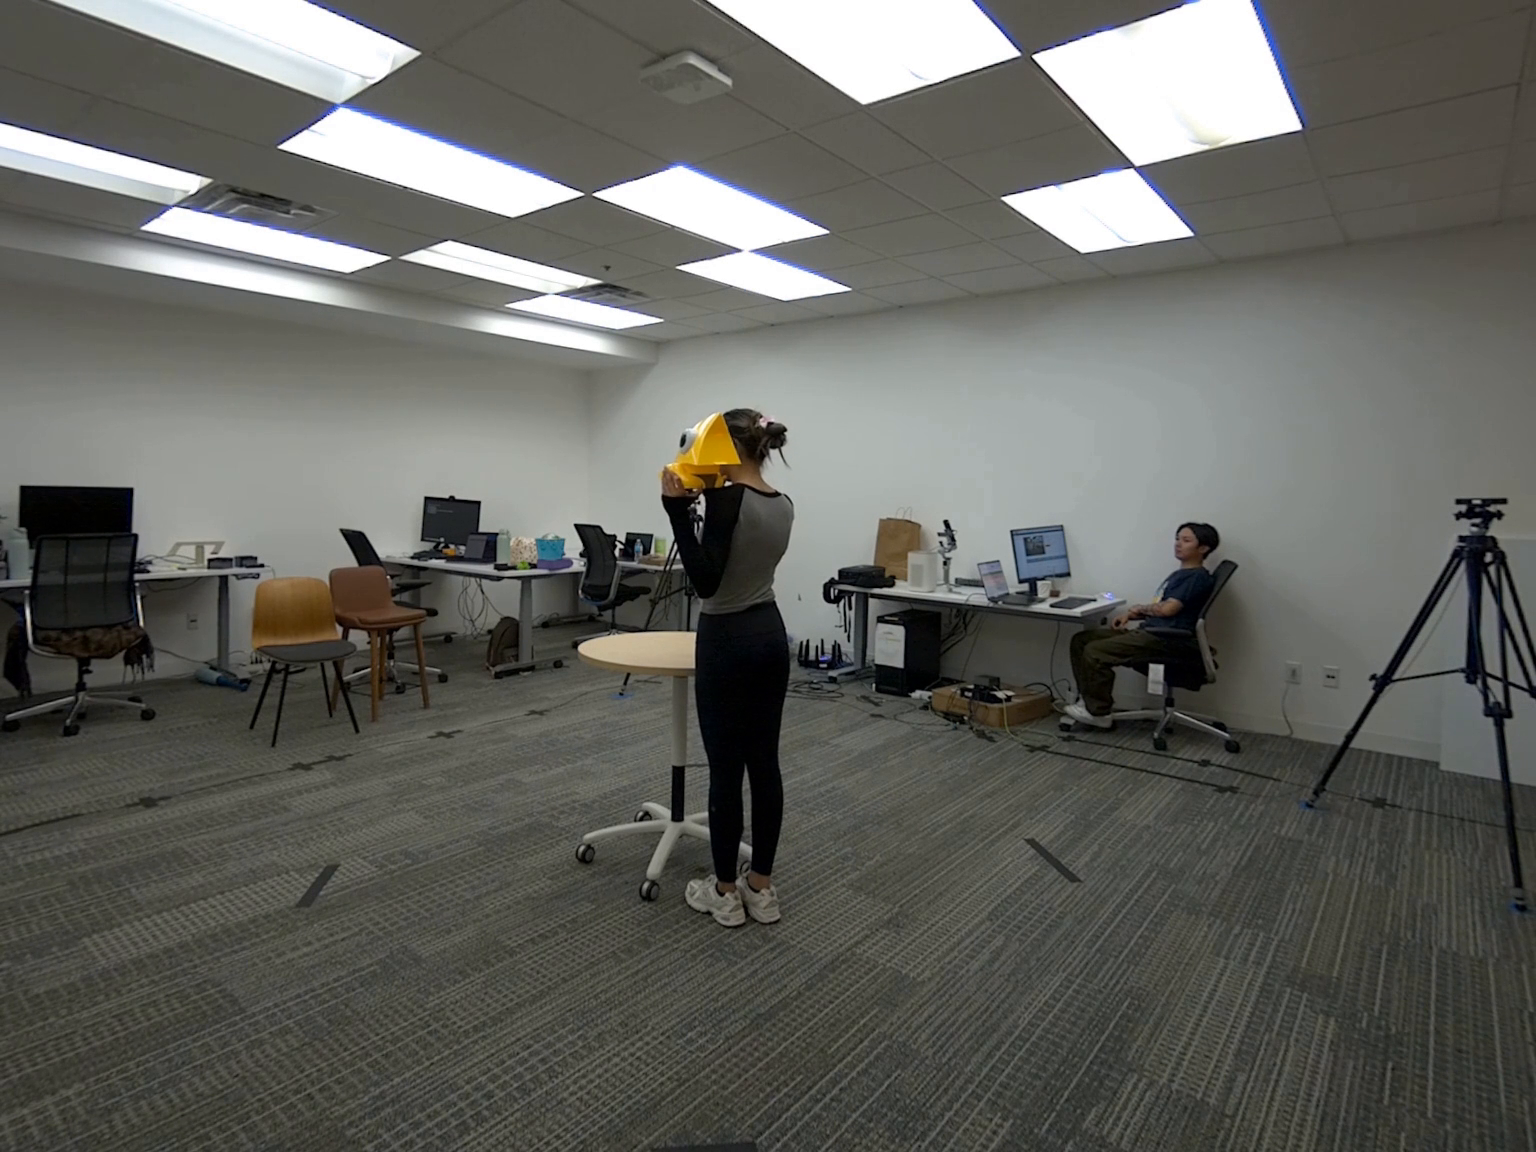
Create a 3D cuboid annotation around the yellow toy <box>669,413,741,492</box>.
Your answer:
[{"bbox_3d":[-0.218,-0.400,2.597,0.200,0.228,0.199,21,18,35],"label":"yellow toy"}]
